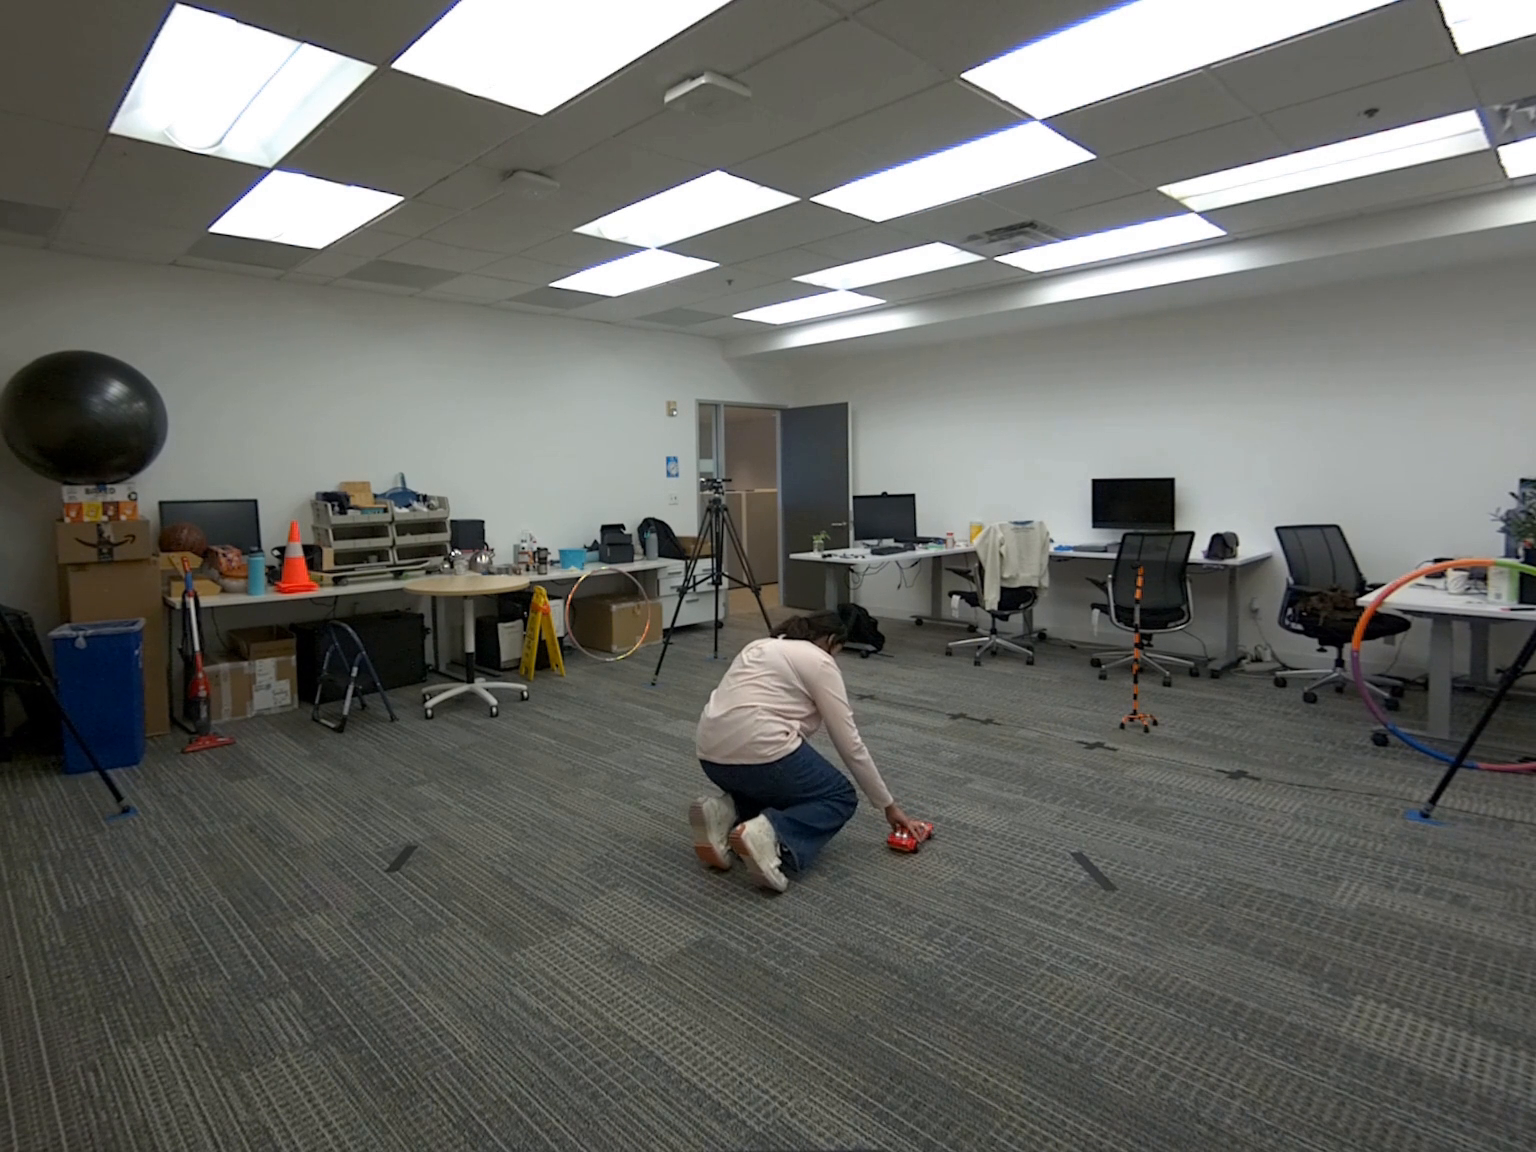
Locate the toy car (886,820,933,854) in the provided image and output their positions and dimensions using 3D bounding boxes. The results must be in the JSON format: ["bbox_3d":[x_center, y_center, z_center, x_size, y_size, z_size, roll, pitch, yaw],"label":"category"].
[{"bbox_3d":[0.534,0.984,3.235,0.134,0.083,0.246,5,-2,34],"label":"toy car"}]
